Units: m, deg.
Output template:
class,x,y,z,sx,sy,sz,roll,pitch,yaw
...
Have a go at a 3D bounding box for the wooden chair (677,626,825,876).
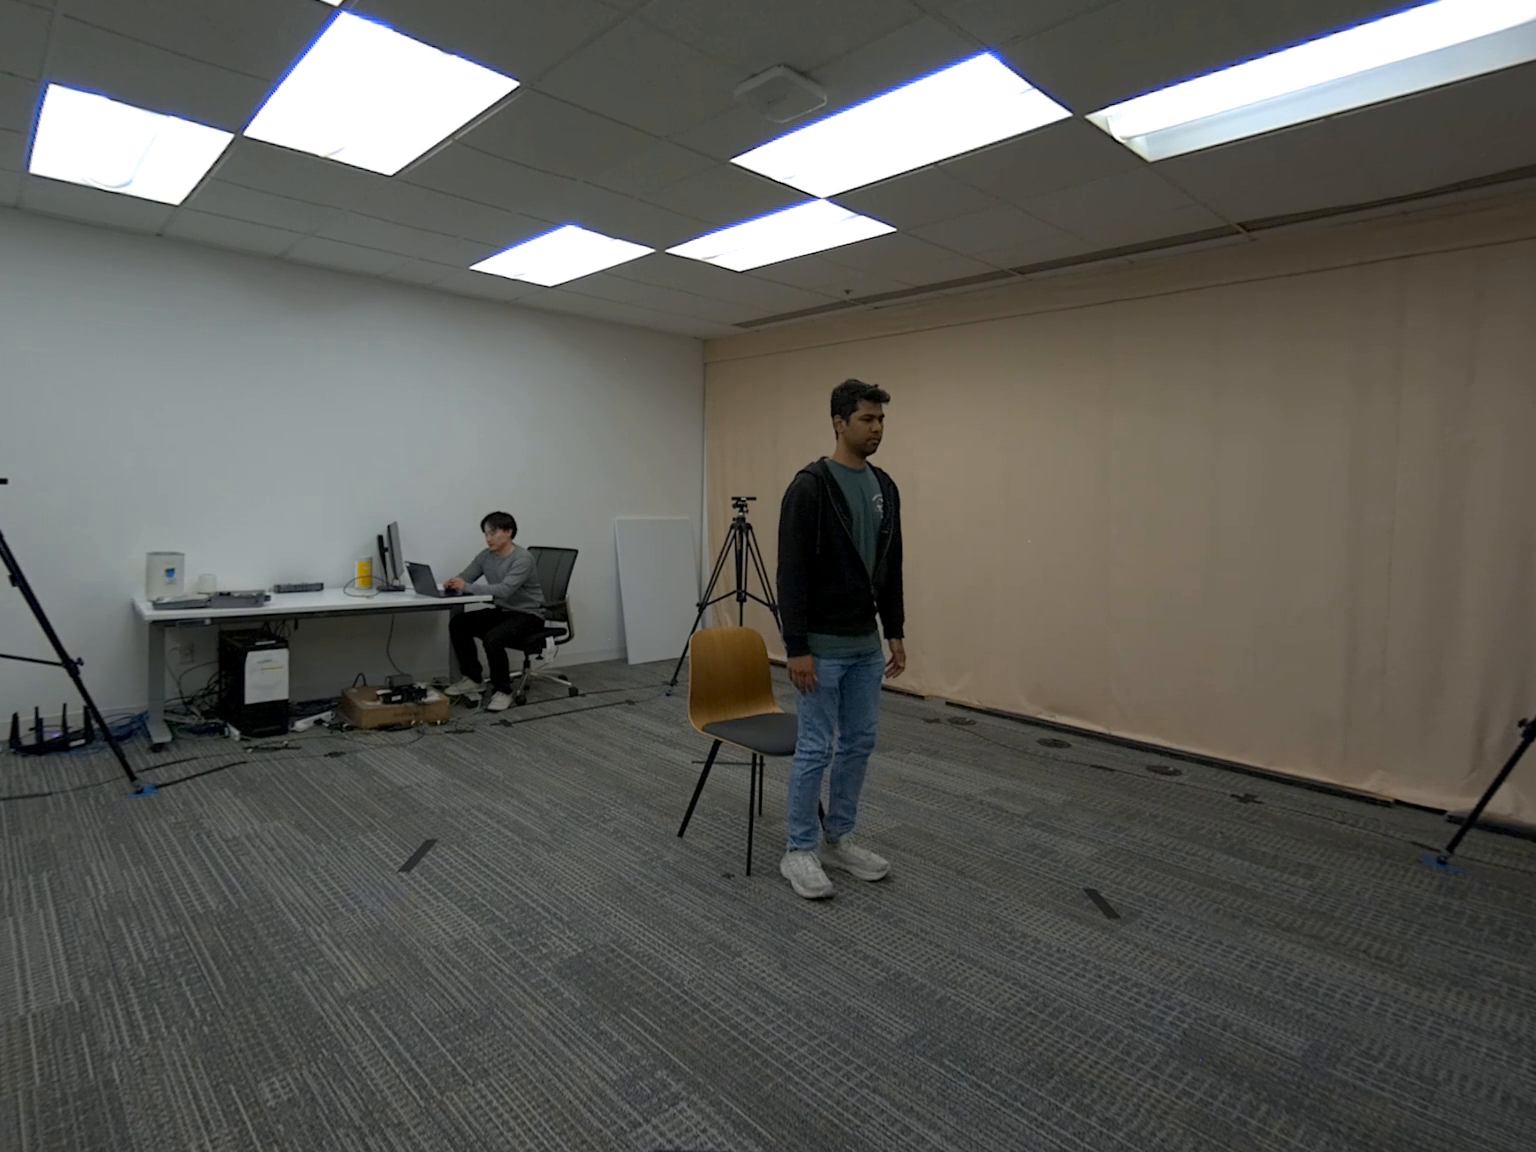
class,x,y,z,sx,sy,sz,roll,pitch,yaw
wooden chair,-0.048,0.660,3.385,0.467,0.878,0.535,-1,0,-39
